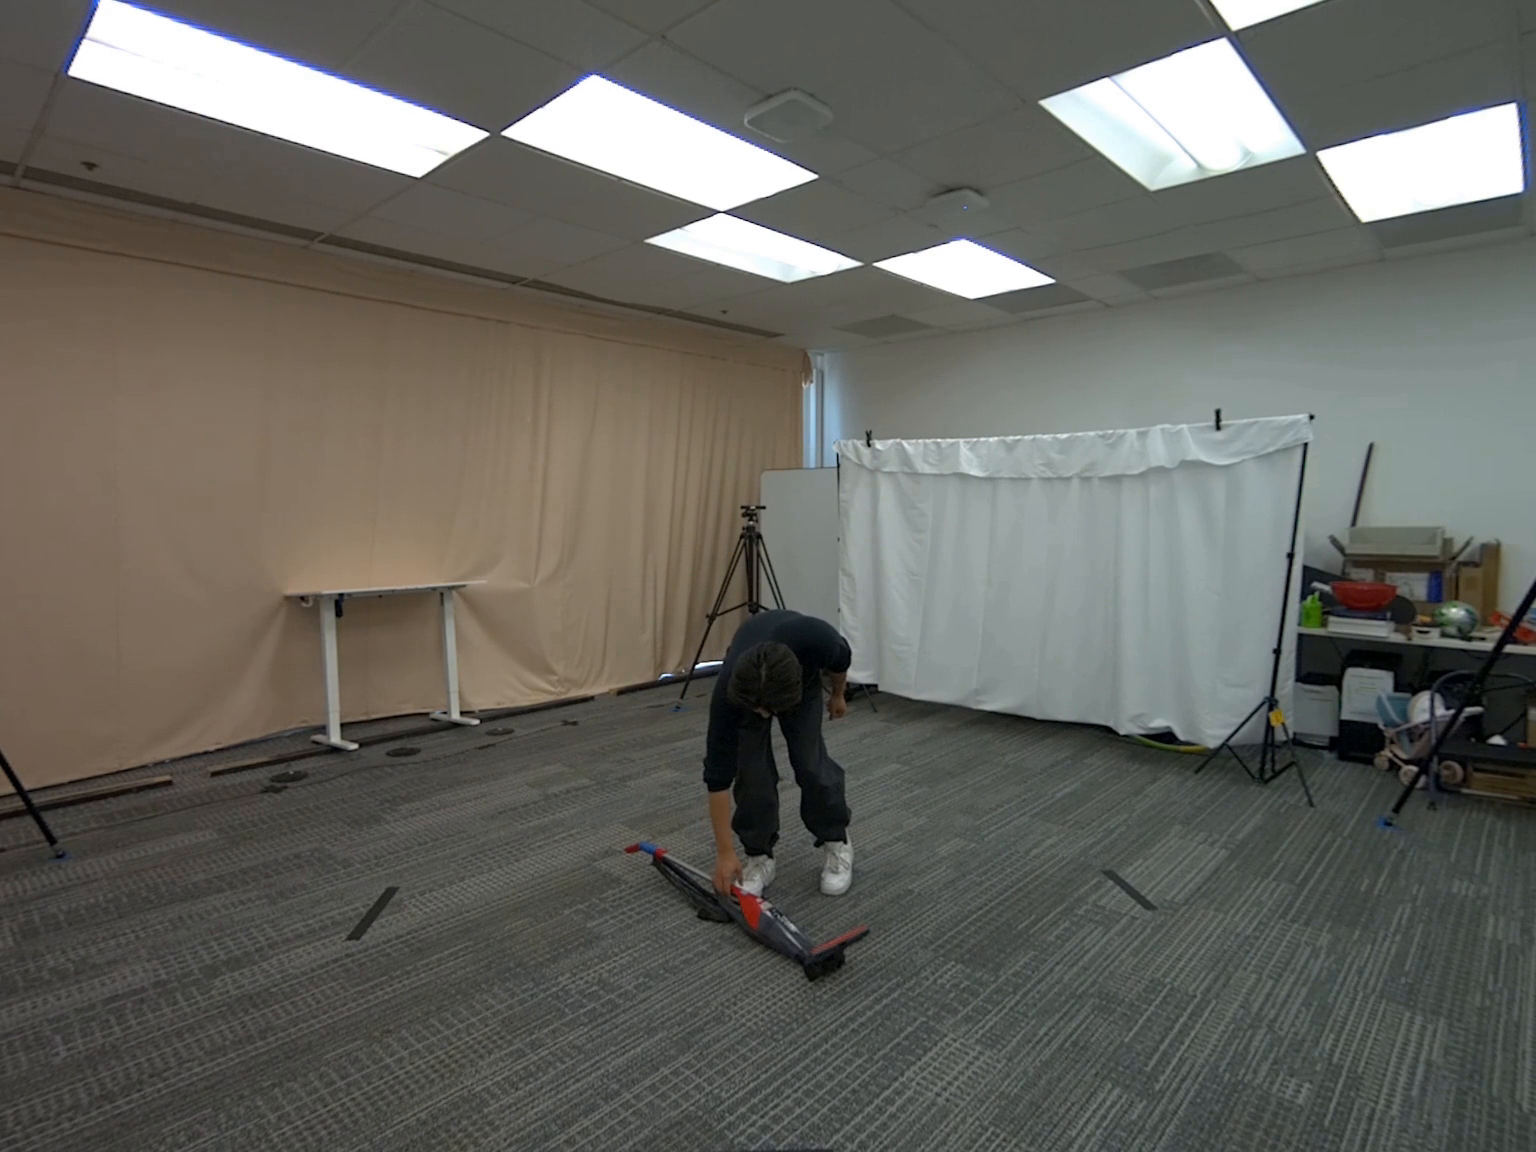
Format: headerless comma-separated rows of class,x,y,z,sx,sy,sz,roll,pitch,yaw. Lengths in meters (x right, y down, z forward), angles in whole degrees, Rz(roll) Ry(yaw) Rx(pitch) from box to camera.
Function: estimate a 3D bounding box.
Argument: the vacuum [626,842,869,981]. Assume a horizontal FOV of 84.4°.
vacuum,-0.180,1.092,2.868,0.244,0.144,1.084,-1,3,-43
